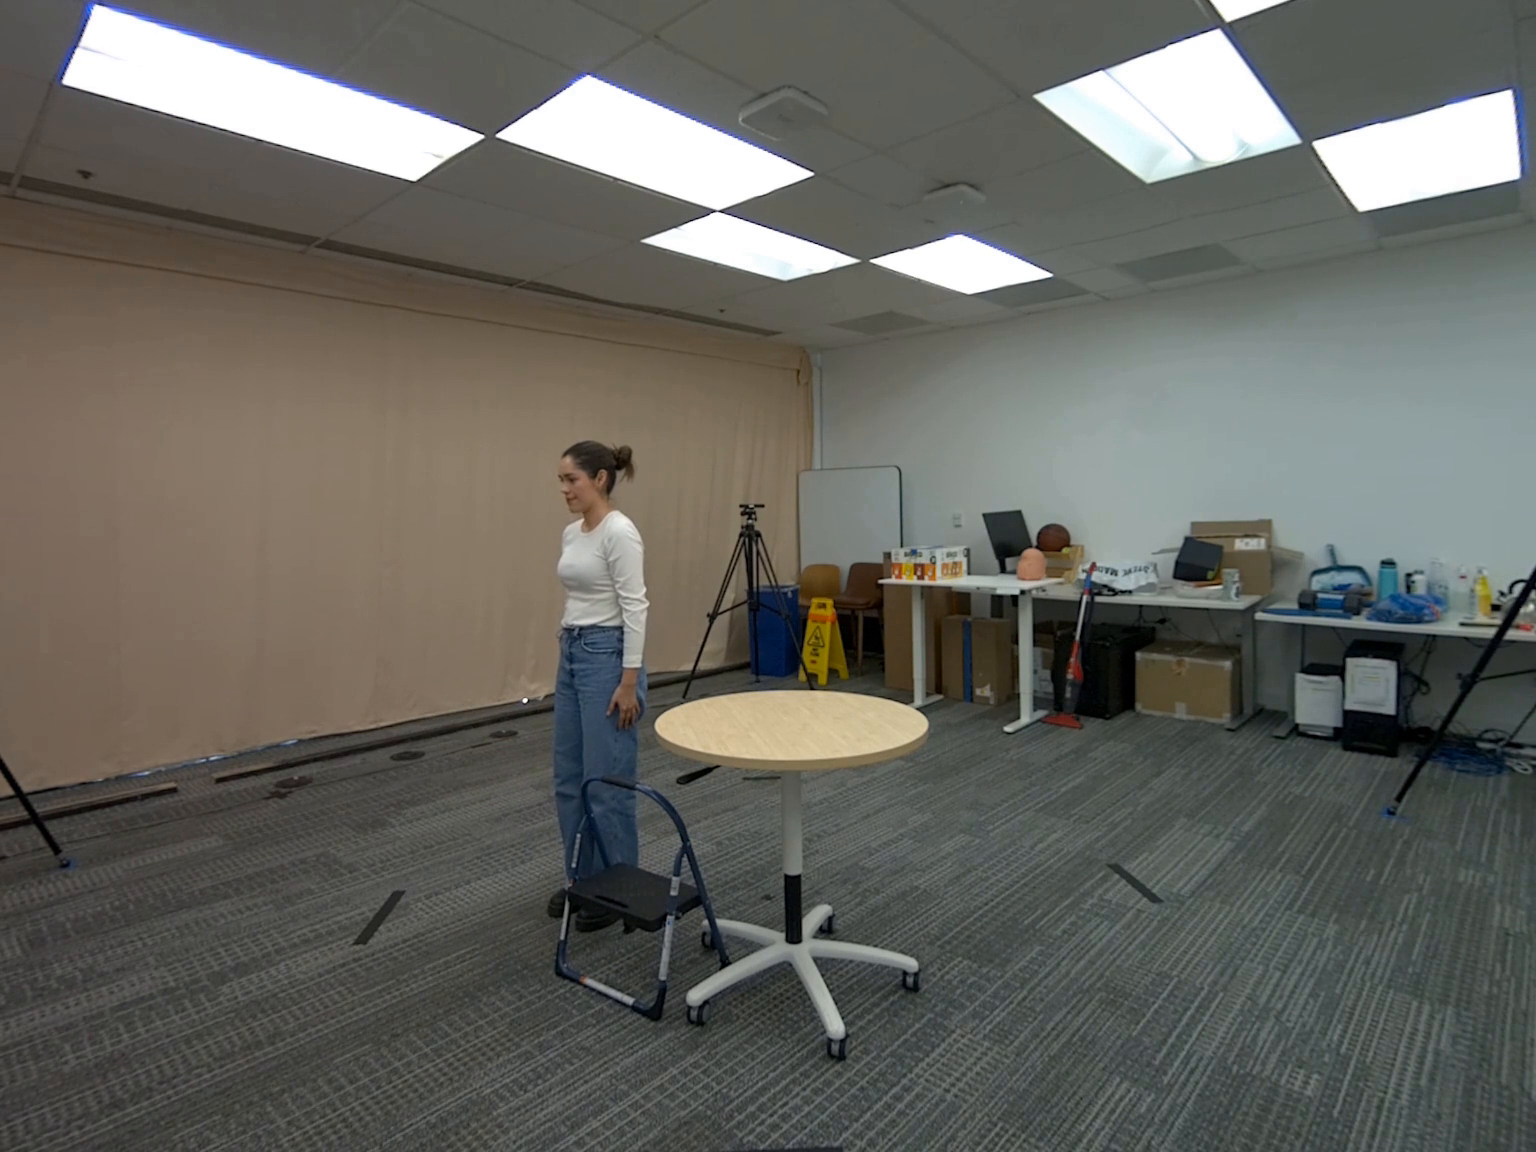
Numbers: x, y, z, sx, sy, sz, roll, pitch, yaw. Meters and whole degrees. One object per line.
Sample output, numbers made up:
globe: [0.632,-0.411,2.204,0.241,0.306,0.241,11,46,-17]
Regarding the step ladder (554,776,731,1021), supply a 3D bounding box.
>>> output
step ladder: [-0.382,0.882,2.518,0.444,0.605,0.339,1,4,35]
